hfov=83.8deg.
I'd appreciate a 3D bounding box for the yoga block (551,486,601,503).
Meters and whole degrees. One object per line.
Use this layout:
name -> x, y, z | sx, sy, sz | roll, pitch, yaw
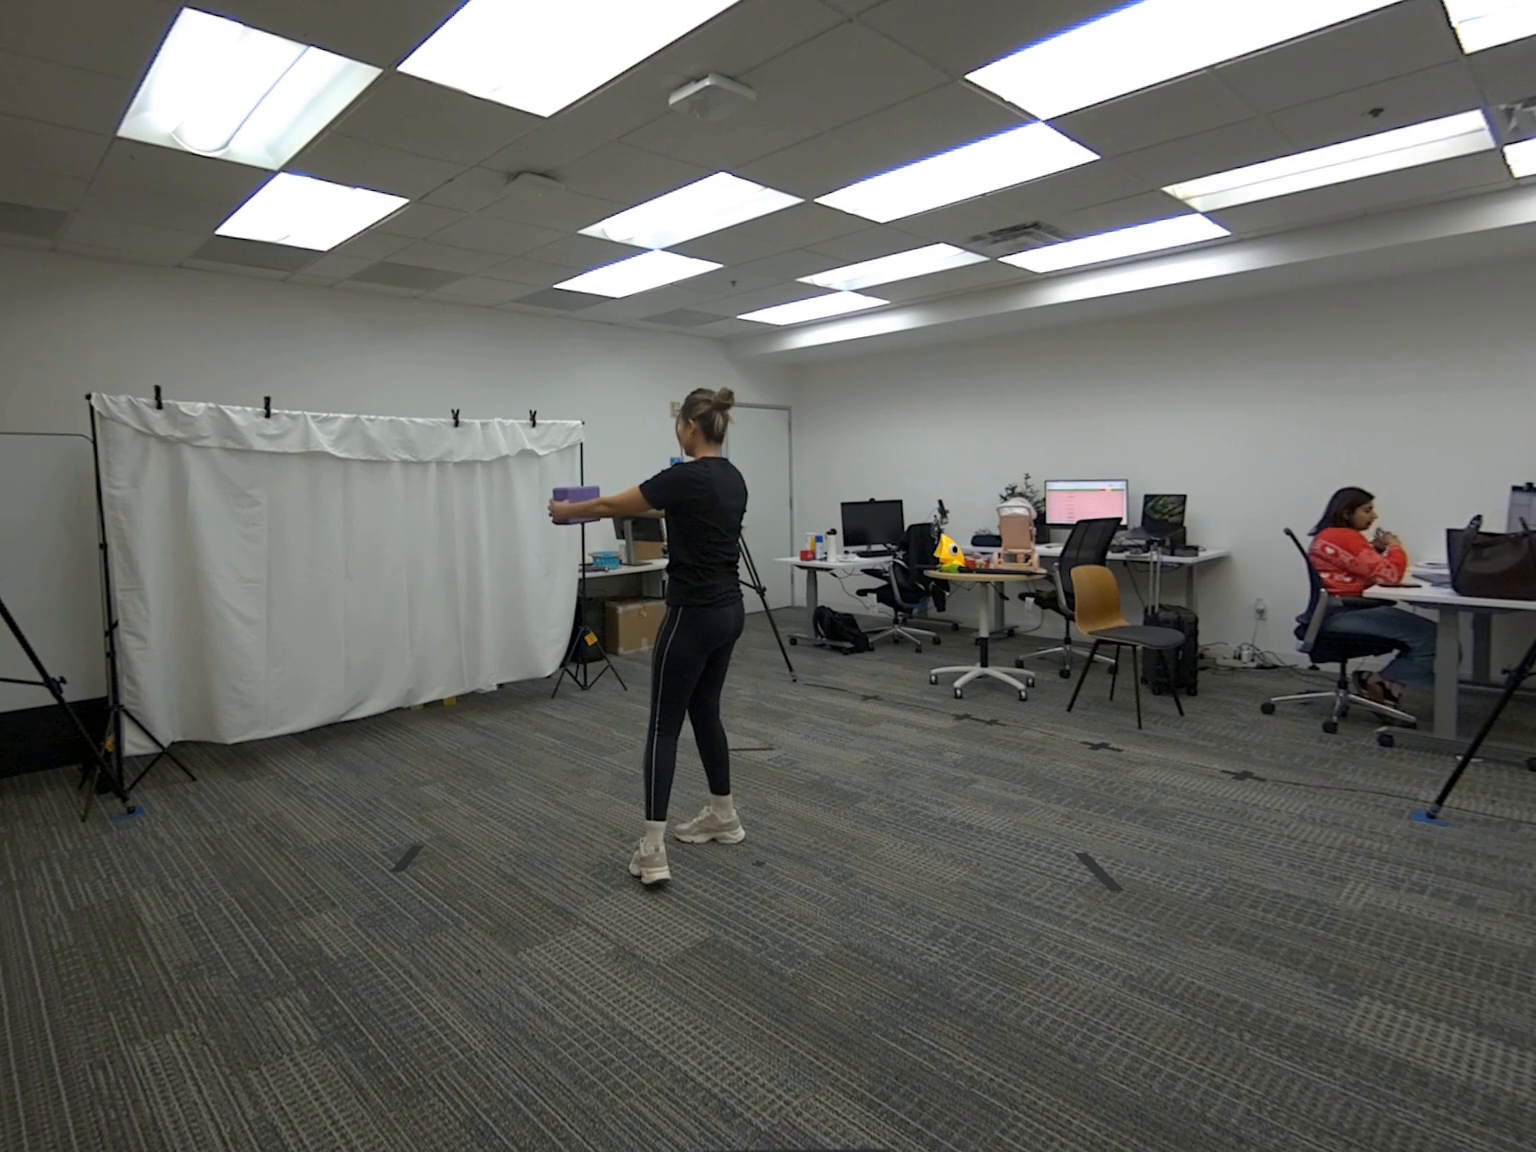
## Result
yoga block -> -0.755, -0.289, 3.450 | 0.078, 0.148, 0.227 | 1, 7, 16
